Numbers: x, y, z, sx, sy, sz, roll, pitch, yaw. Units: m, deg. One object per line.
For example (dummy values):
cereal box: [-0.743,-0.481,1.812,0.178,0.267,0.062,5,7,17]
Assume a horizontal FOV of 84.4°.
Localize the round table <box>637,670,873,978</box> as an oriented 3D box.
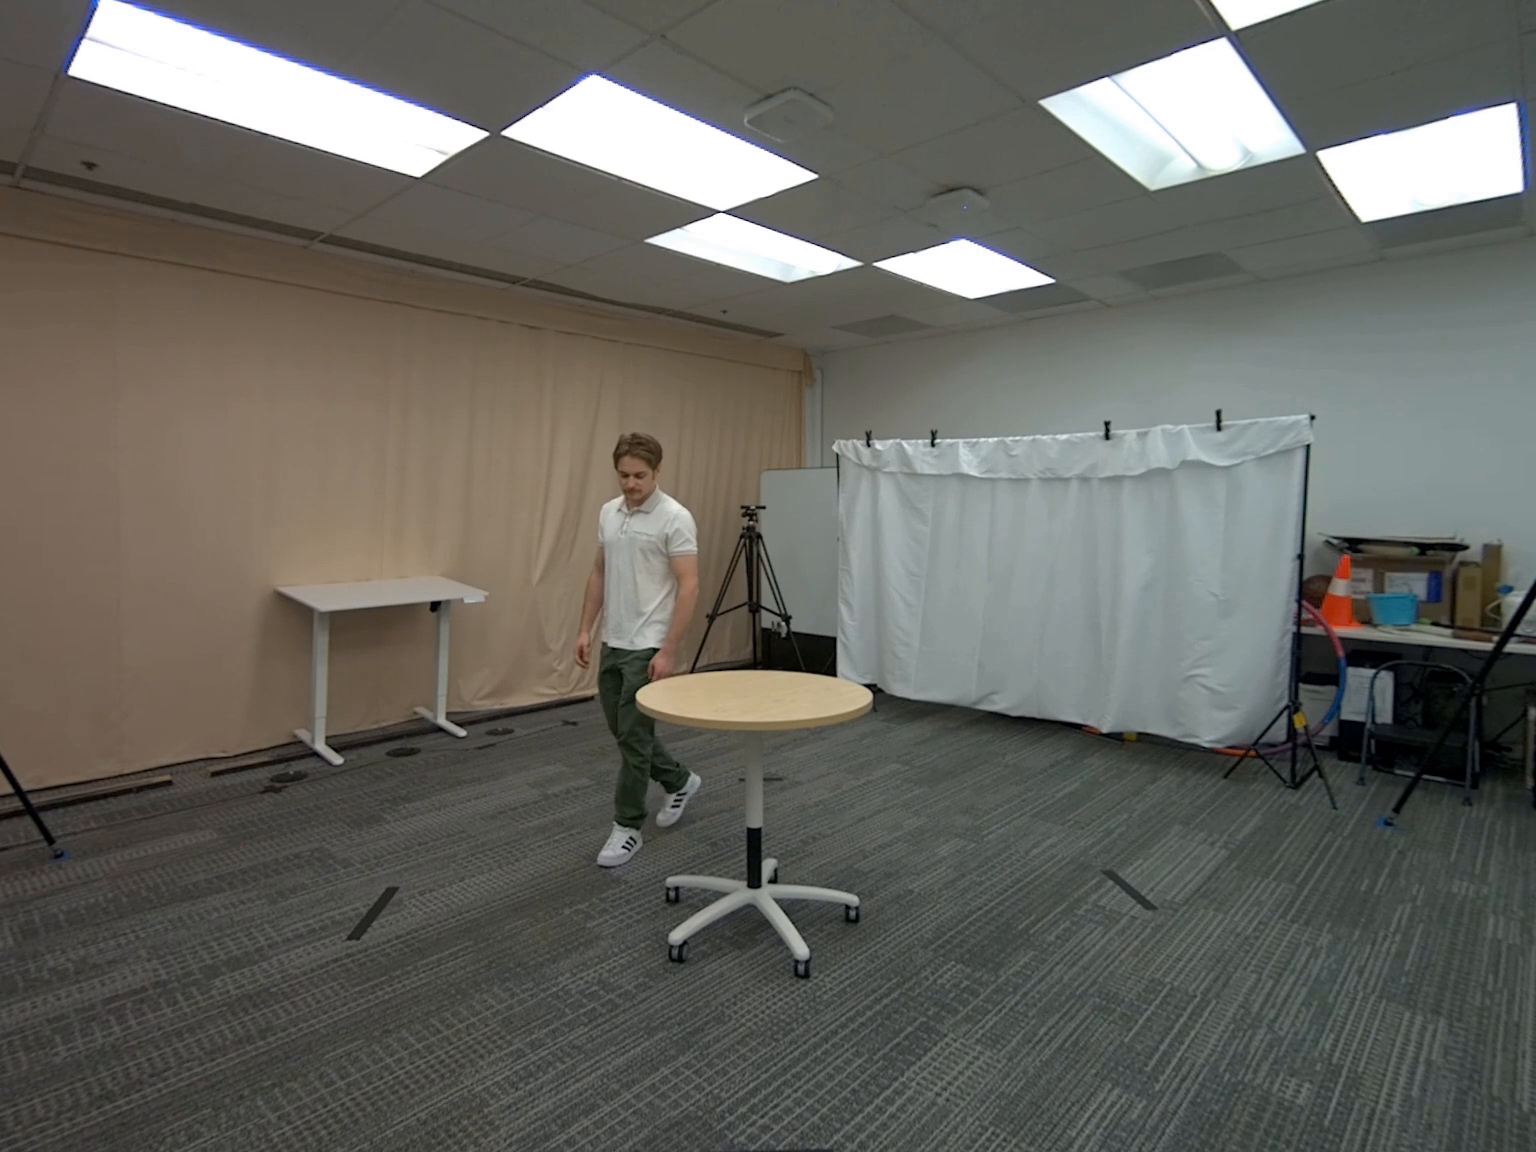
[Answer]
round table: [-0.039,0.771,2.751,0.784,0.785,0.787,-1,3,-2]
